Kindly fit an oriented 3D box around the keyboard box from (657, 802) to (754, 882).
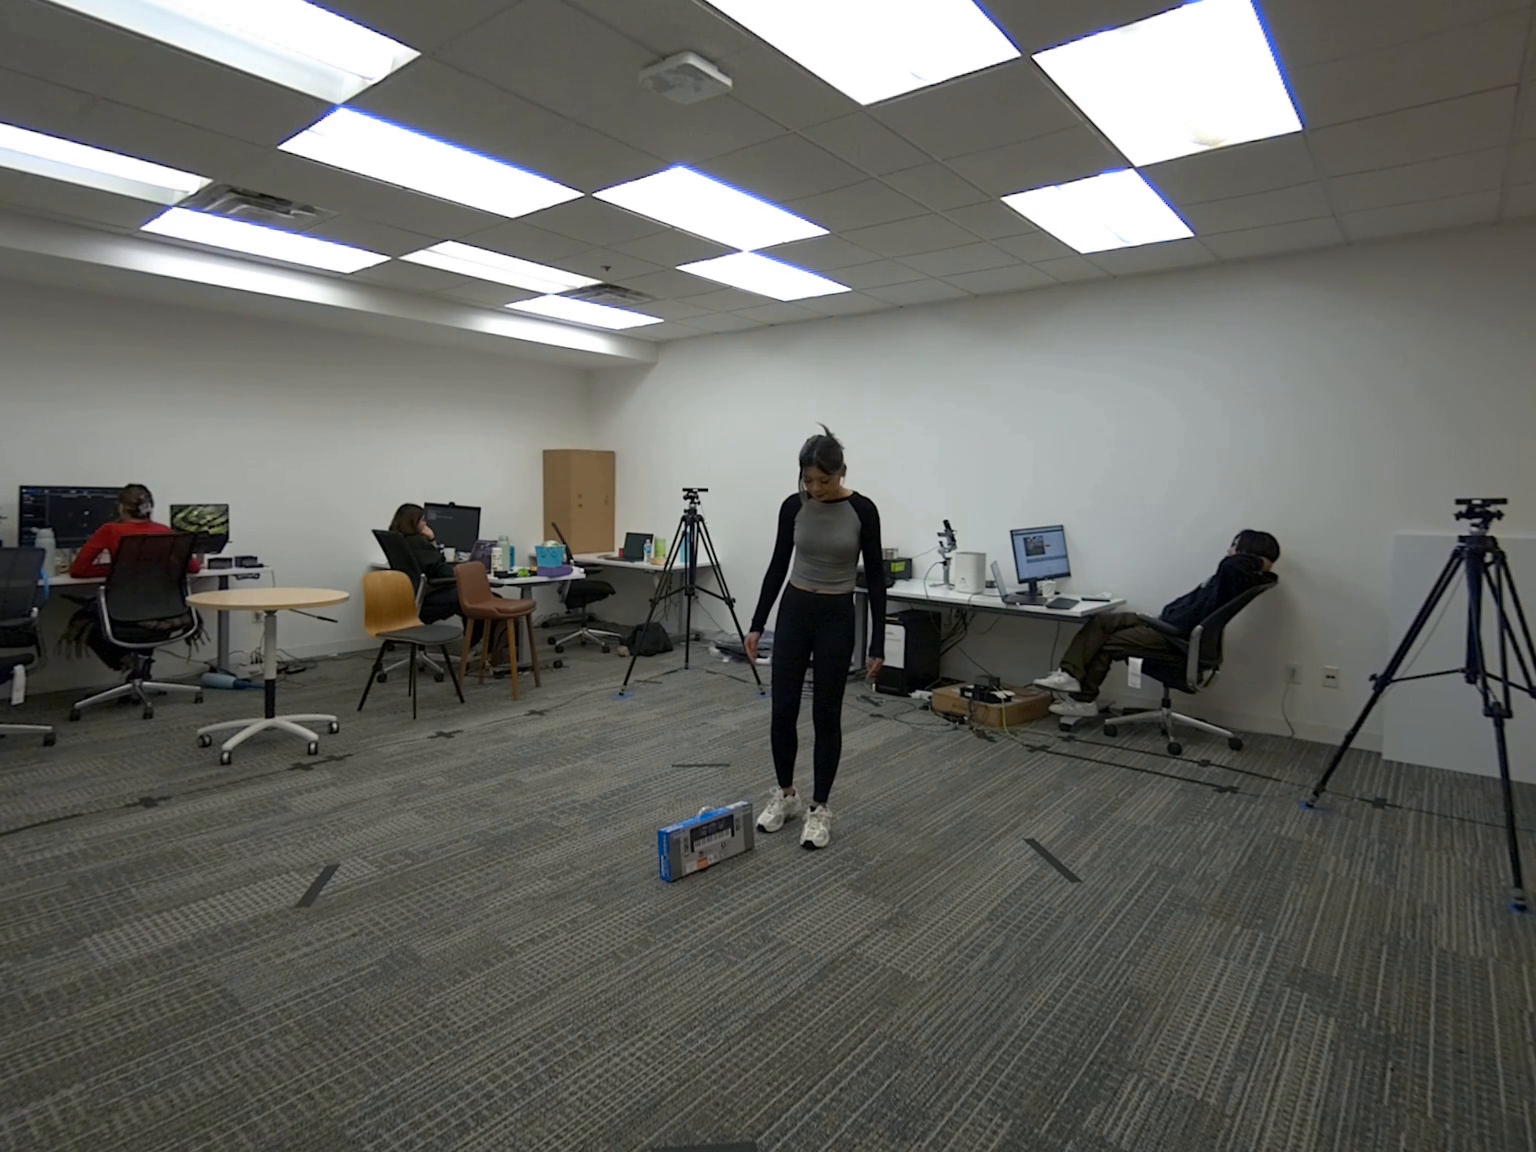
[{"bbox_3d":[-0.231,0.978,3.162,0.061,0.176,0.424,-5,0,44],"label":"keyboard box"}]
